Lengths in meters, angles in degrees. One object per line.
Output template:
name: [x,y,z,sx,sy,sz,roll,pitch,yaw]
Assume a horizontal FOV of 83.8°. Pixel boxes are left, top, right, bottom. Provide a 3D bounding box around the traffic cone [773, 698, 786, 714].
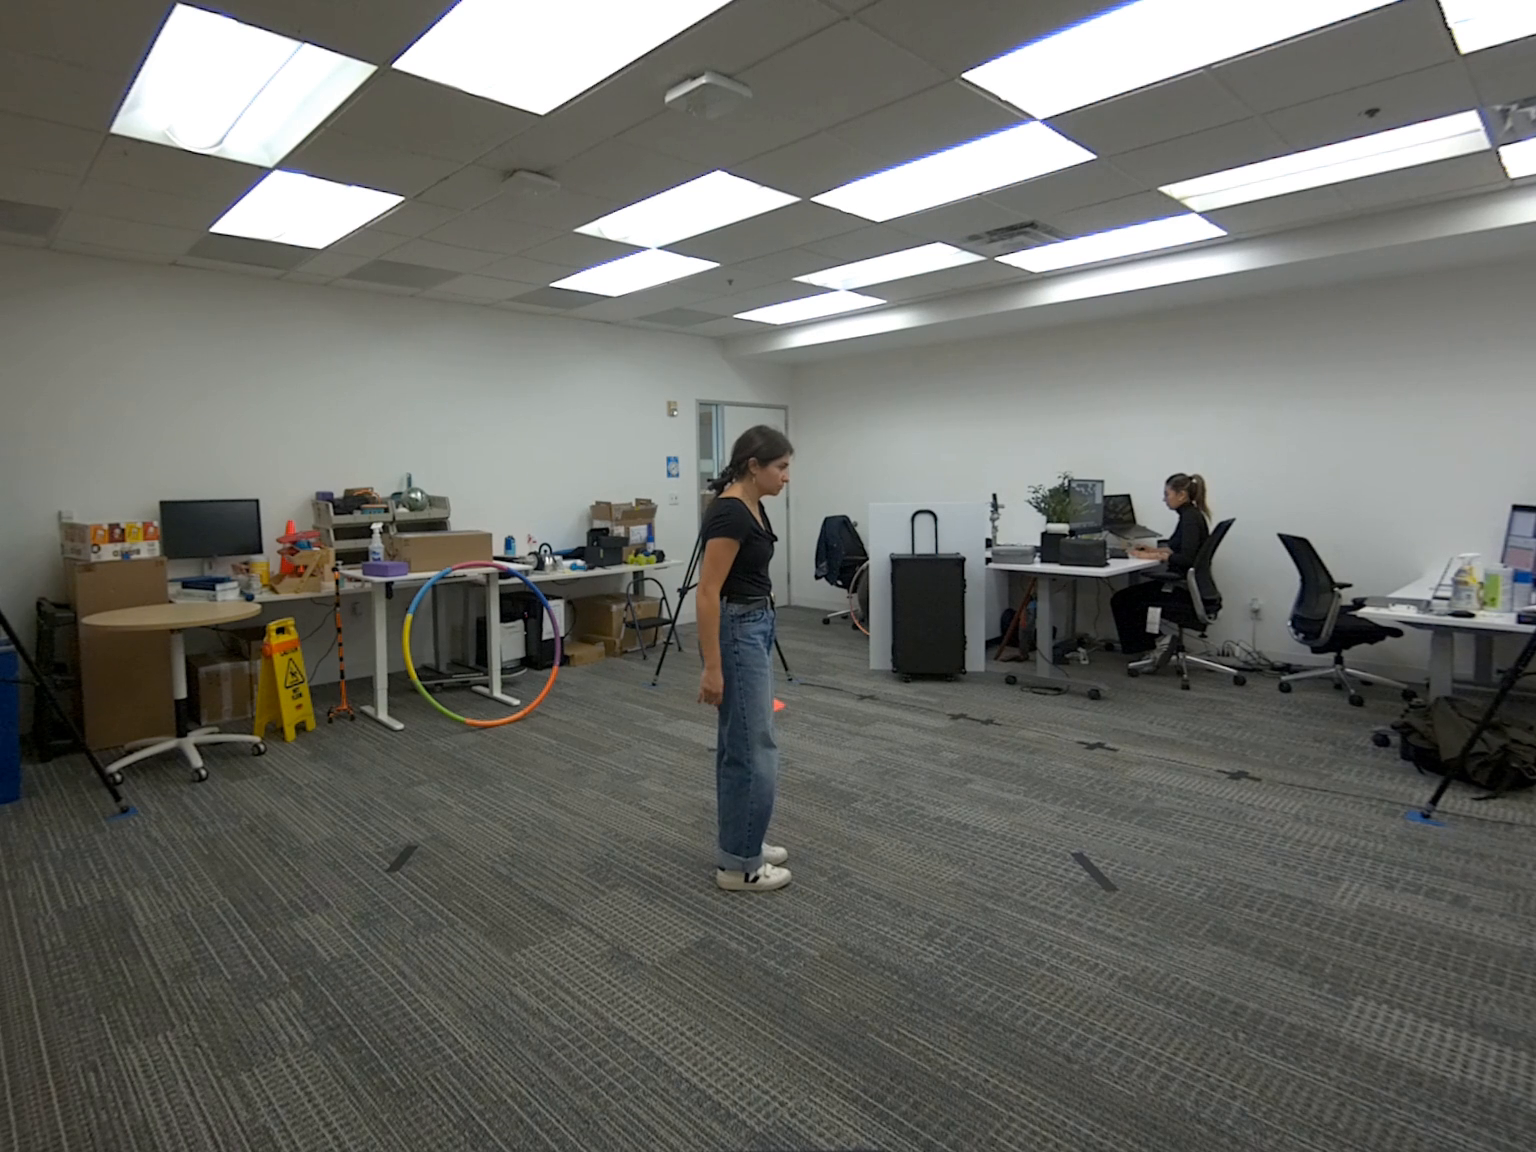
traffic cone: [-0.083,0.342,3.368,0.201,0.376,0.211,-17,20,-20]
